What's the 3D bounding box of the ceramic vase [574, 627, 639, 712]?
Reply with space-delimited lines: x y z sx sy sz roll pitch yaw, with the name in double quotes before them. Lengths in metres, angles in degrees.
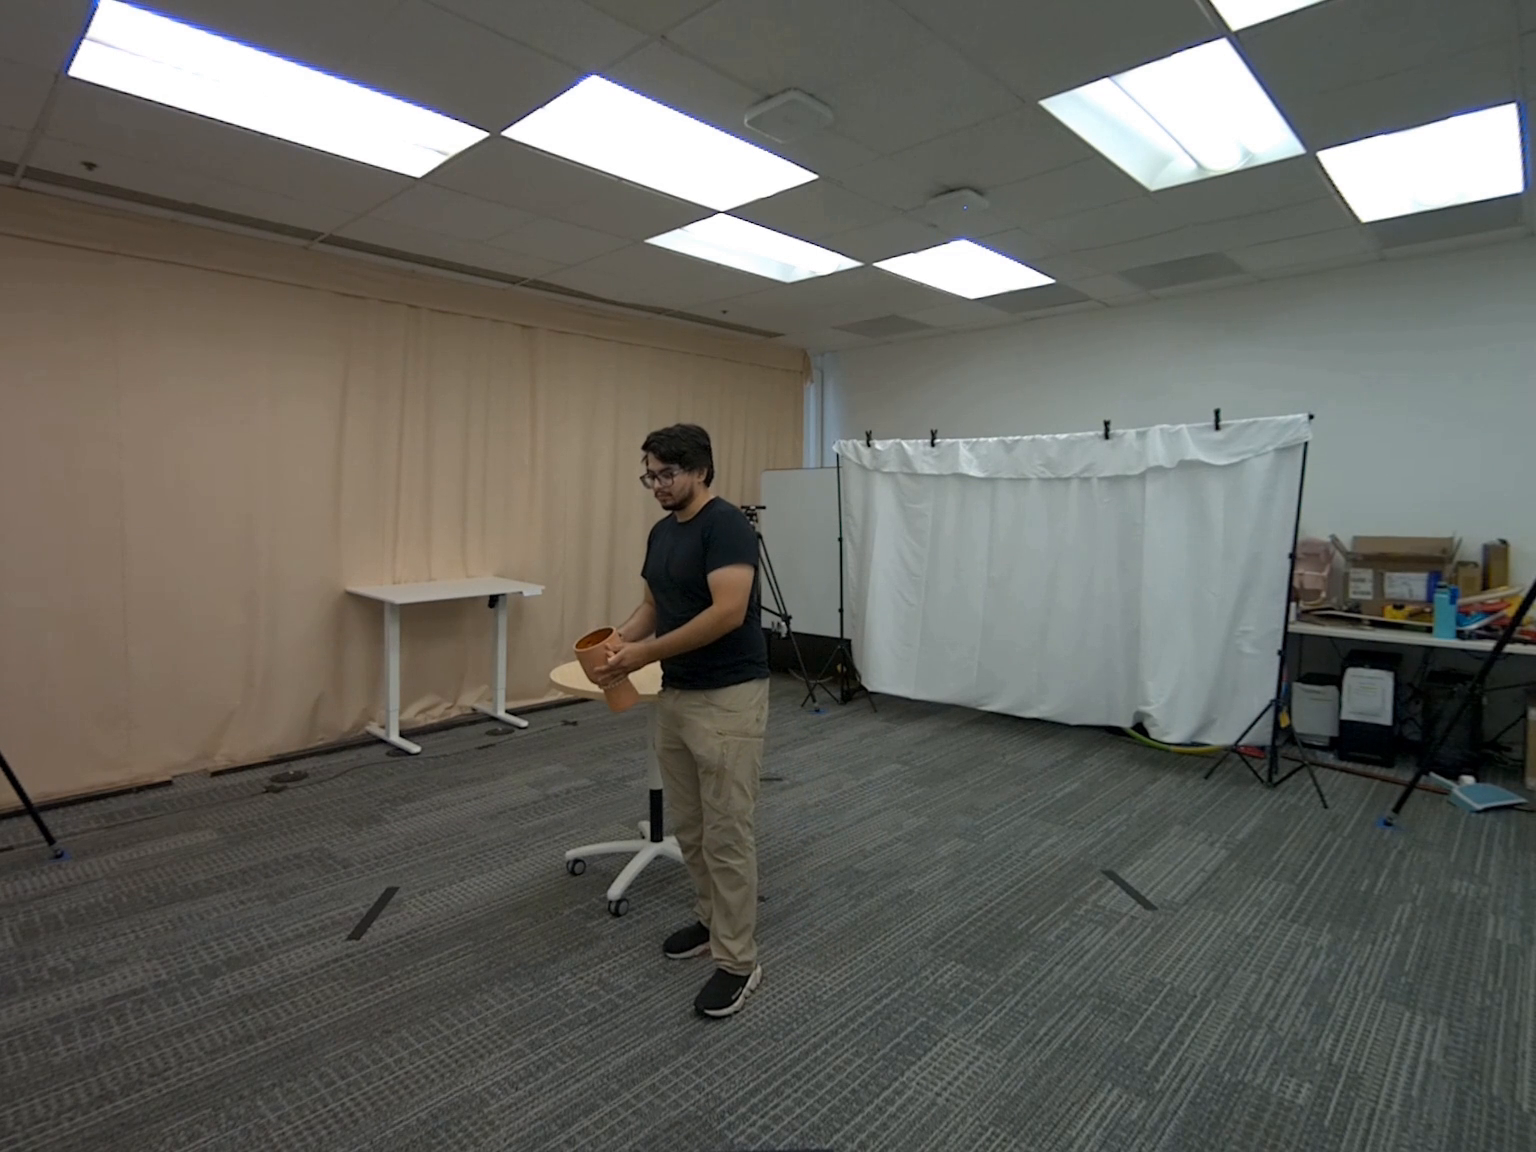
"ceramic vase" -0.452 0.275 2.433 0.137 0.217 0.158 -18 13 19
